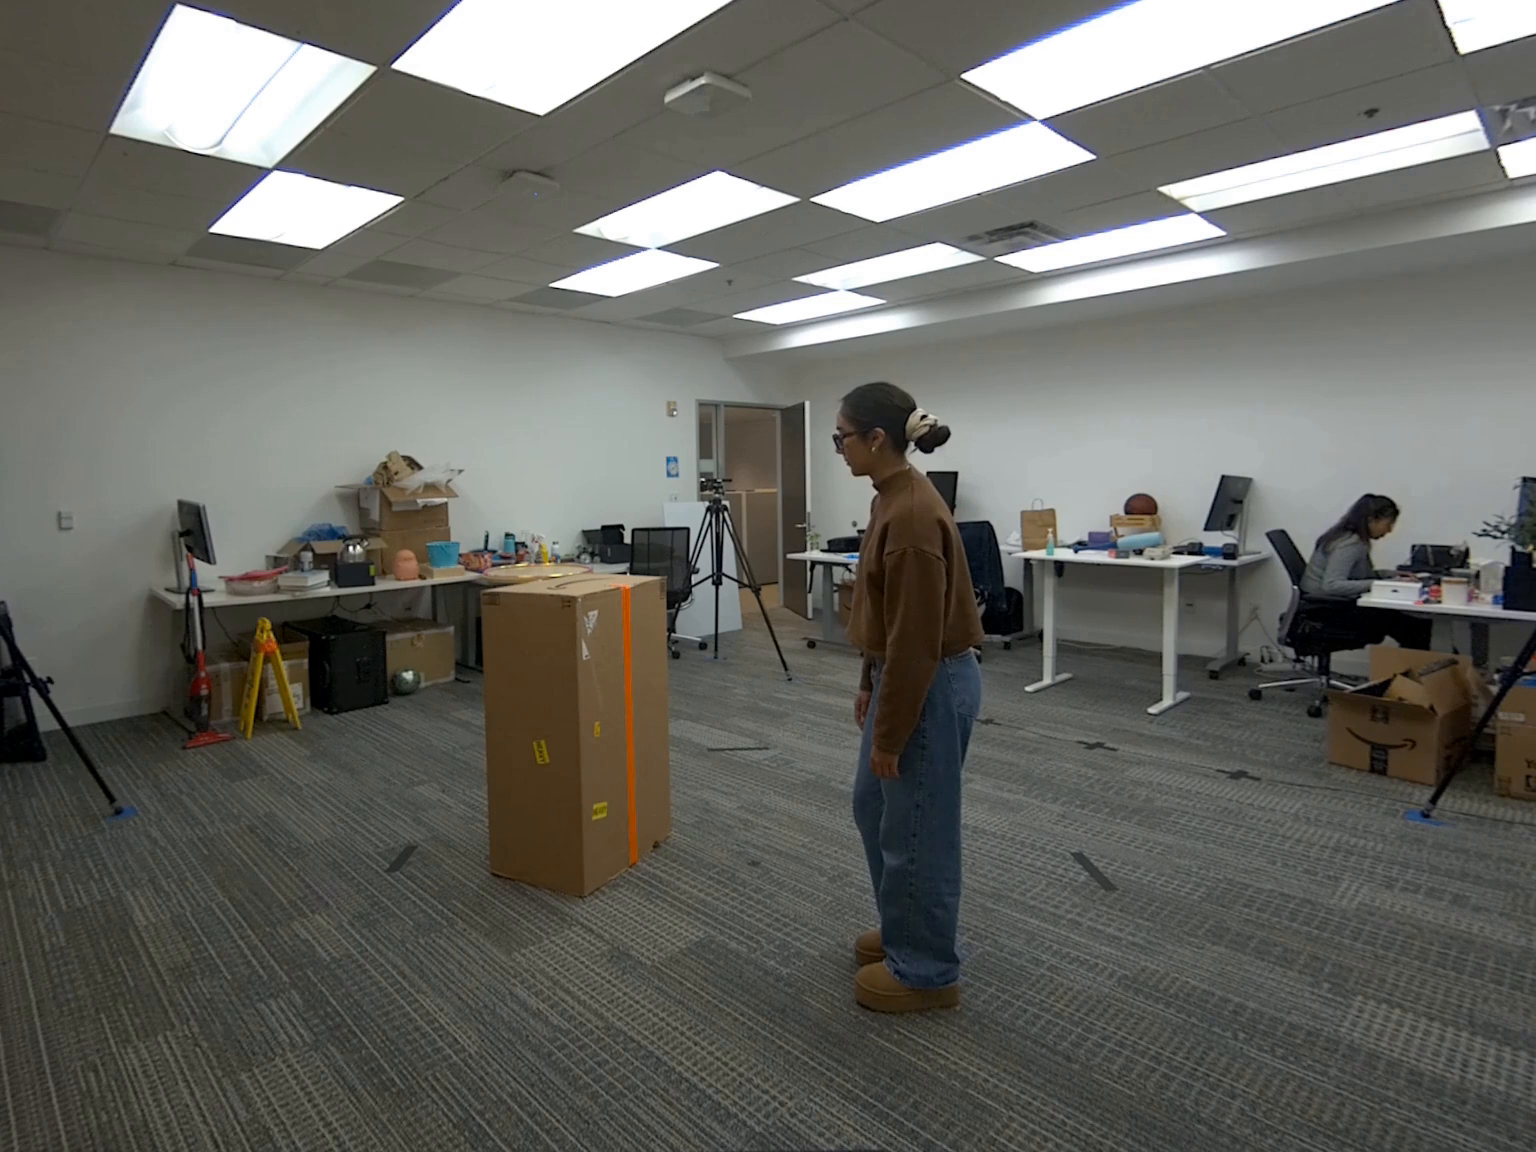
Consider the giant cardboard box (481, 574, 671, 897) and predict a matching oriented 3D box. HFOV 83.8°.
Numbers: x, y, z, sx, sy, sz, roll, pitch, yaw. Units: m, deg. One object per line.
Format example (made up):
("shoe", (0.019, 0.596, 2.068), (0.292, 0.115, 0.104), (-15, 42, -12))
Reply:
("giant cardboard box", (-0.696, 0.535, 3.189), (0.436, 1.022, 0.566), (1, 4, 27))
